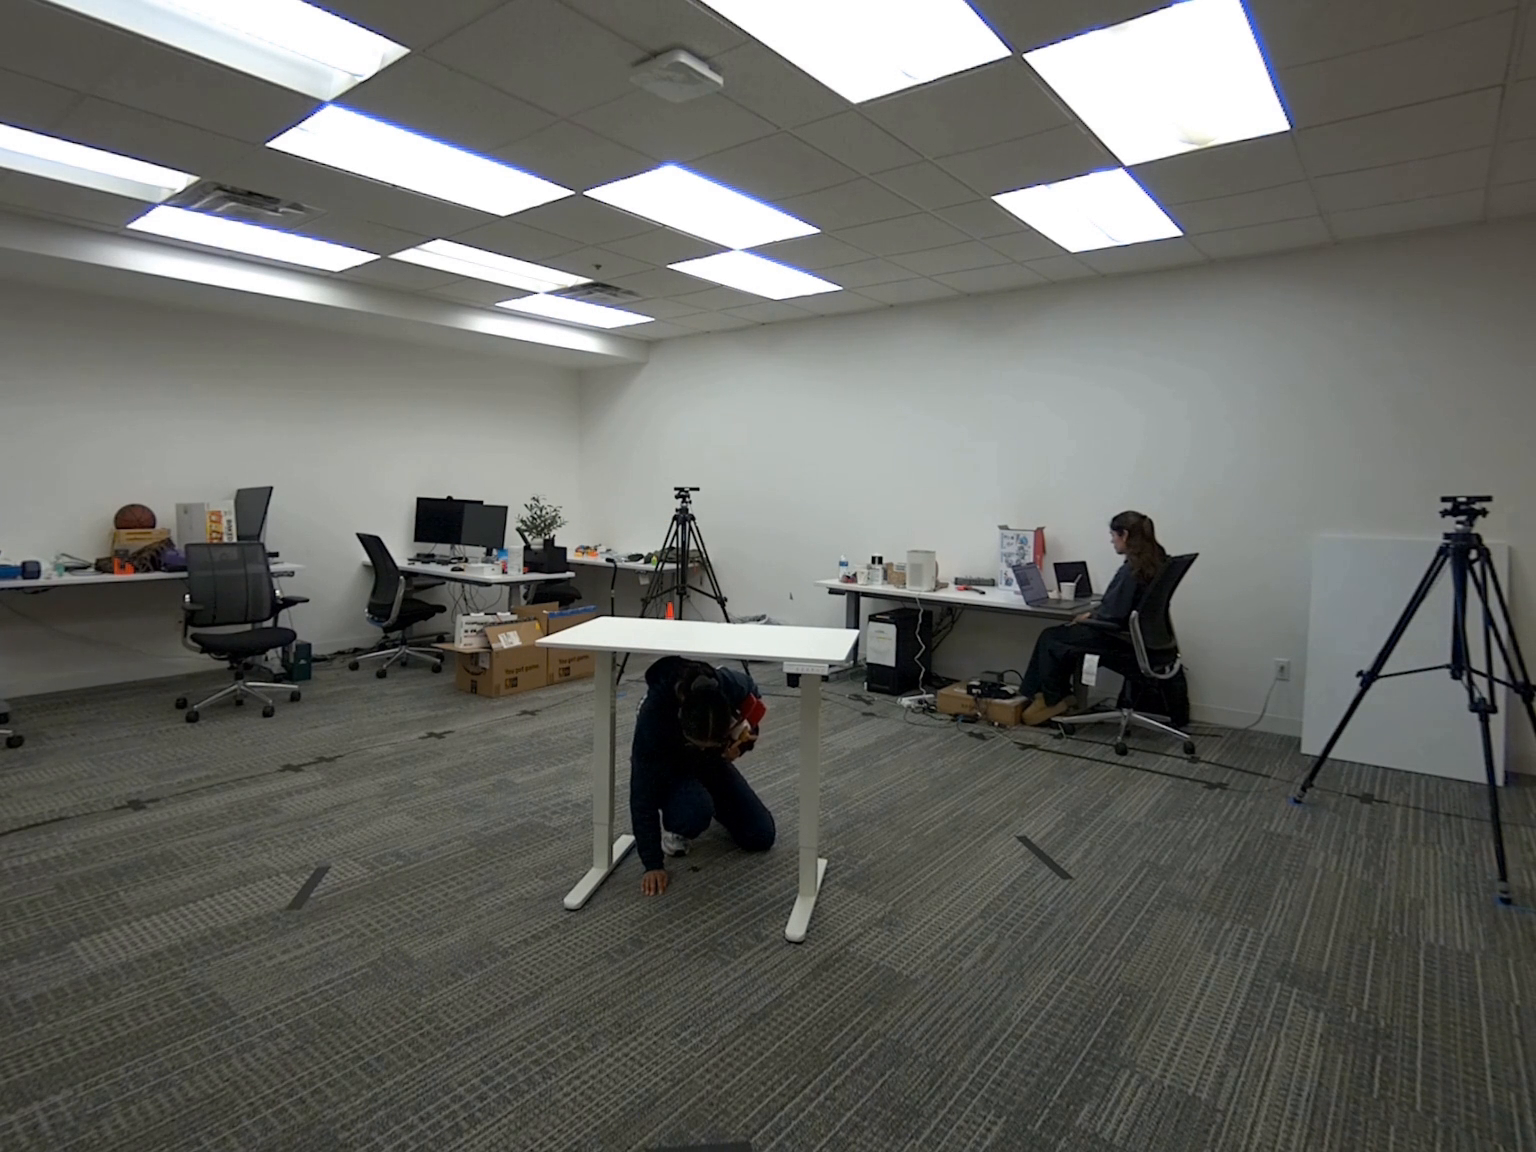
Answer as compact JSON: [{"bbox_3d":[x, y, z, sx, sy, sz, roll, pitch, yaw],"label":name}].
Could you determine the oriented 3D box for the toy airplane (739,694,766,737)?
[{"bbox_3d":[-0.135,0.518,3.306,0.254,0.265,0.150,-25,-52,29],"label":"toy airplane"}]
